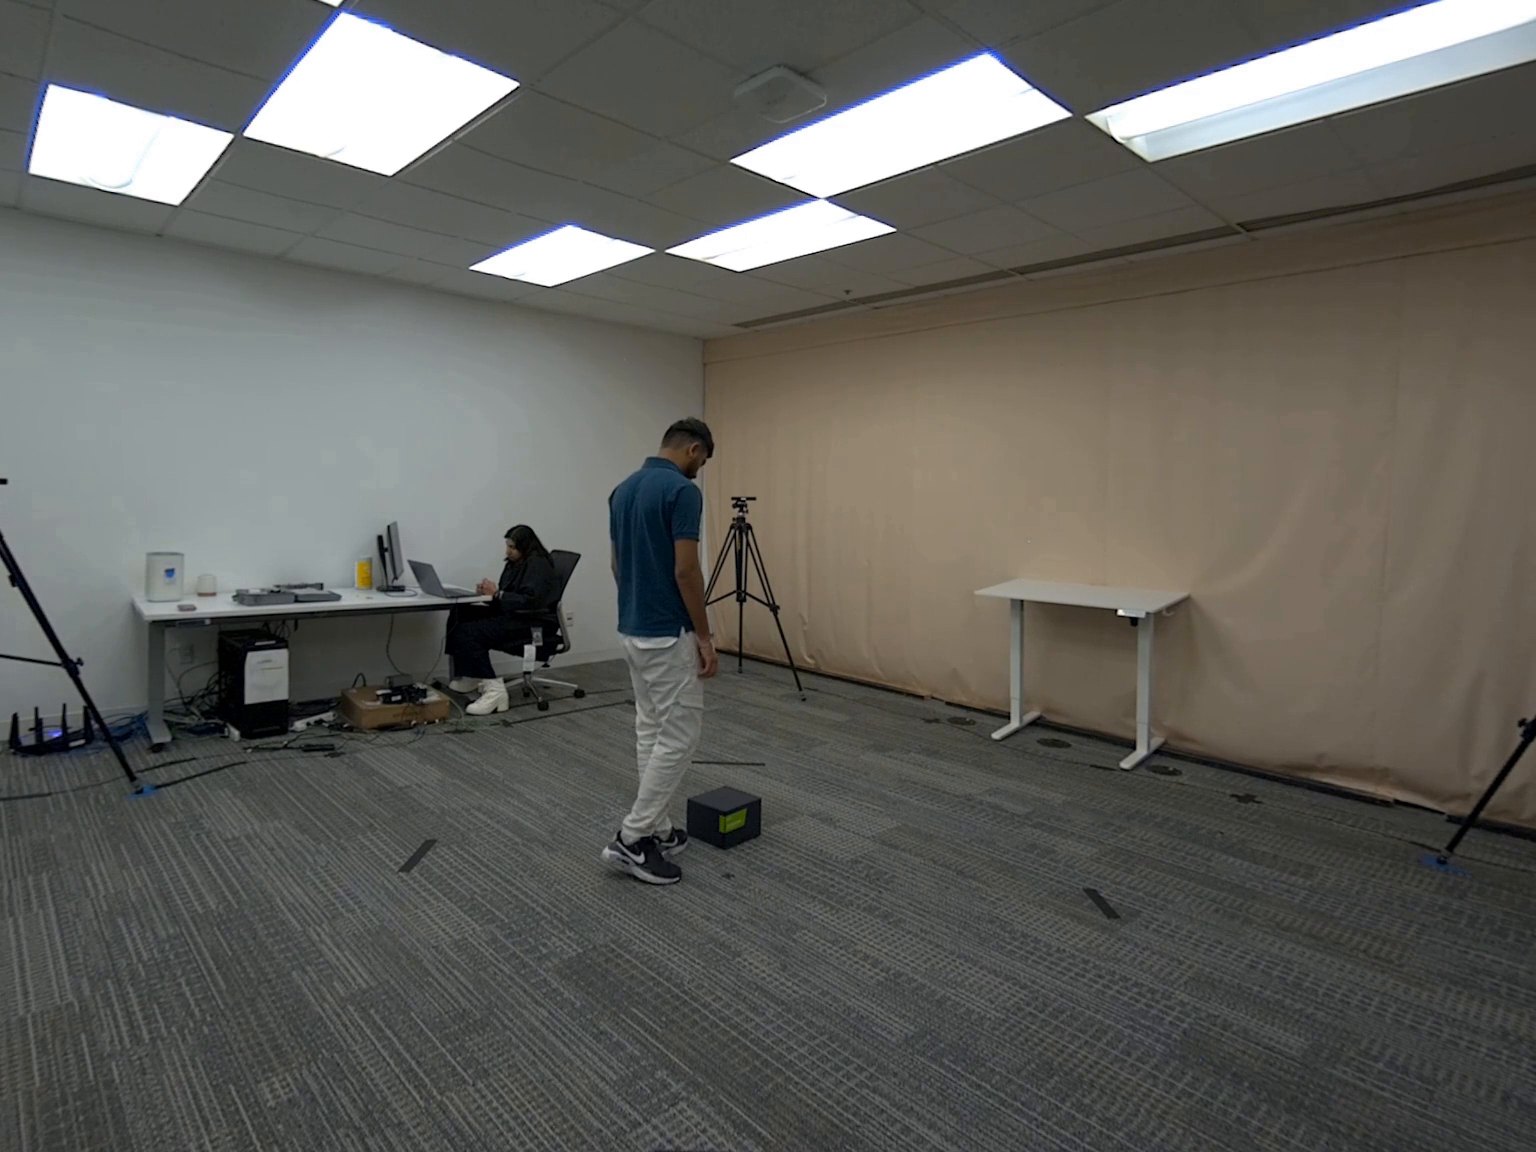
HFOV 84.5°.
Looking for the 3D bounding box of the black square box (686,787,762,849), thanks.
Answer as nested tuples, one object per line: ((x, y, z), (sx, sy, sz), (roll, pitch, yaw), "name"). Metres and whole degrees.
((-0.188, 0.989, 3.476), (0.222, 0.155, 0.223), (5, 5, 41), "black square box")
